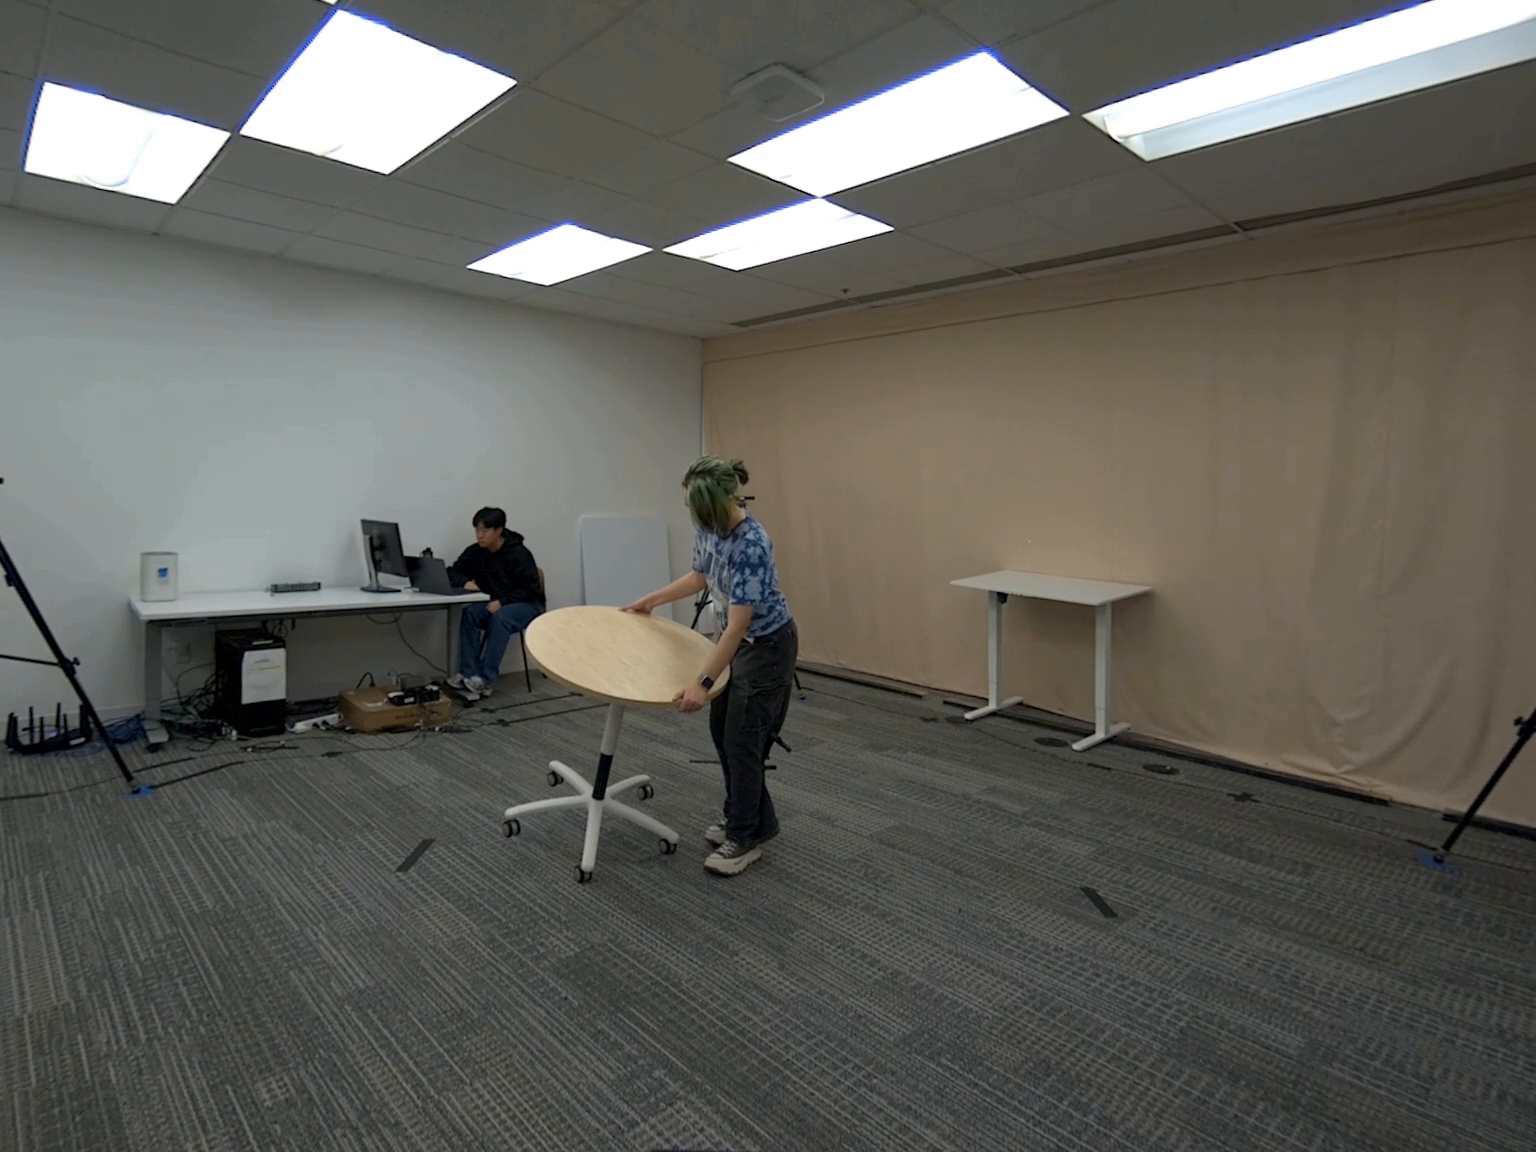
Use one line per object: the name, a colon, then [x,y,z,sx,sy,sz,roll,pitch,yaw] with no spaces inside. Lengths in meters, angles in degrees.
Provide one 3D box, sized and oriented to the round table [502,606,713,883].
round table: [-0.616,0.637,3.224,0.761,0.787,0.774,12,17,-5]
